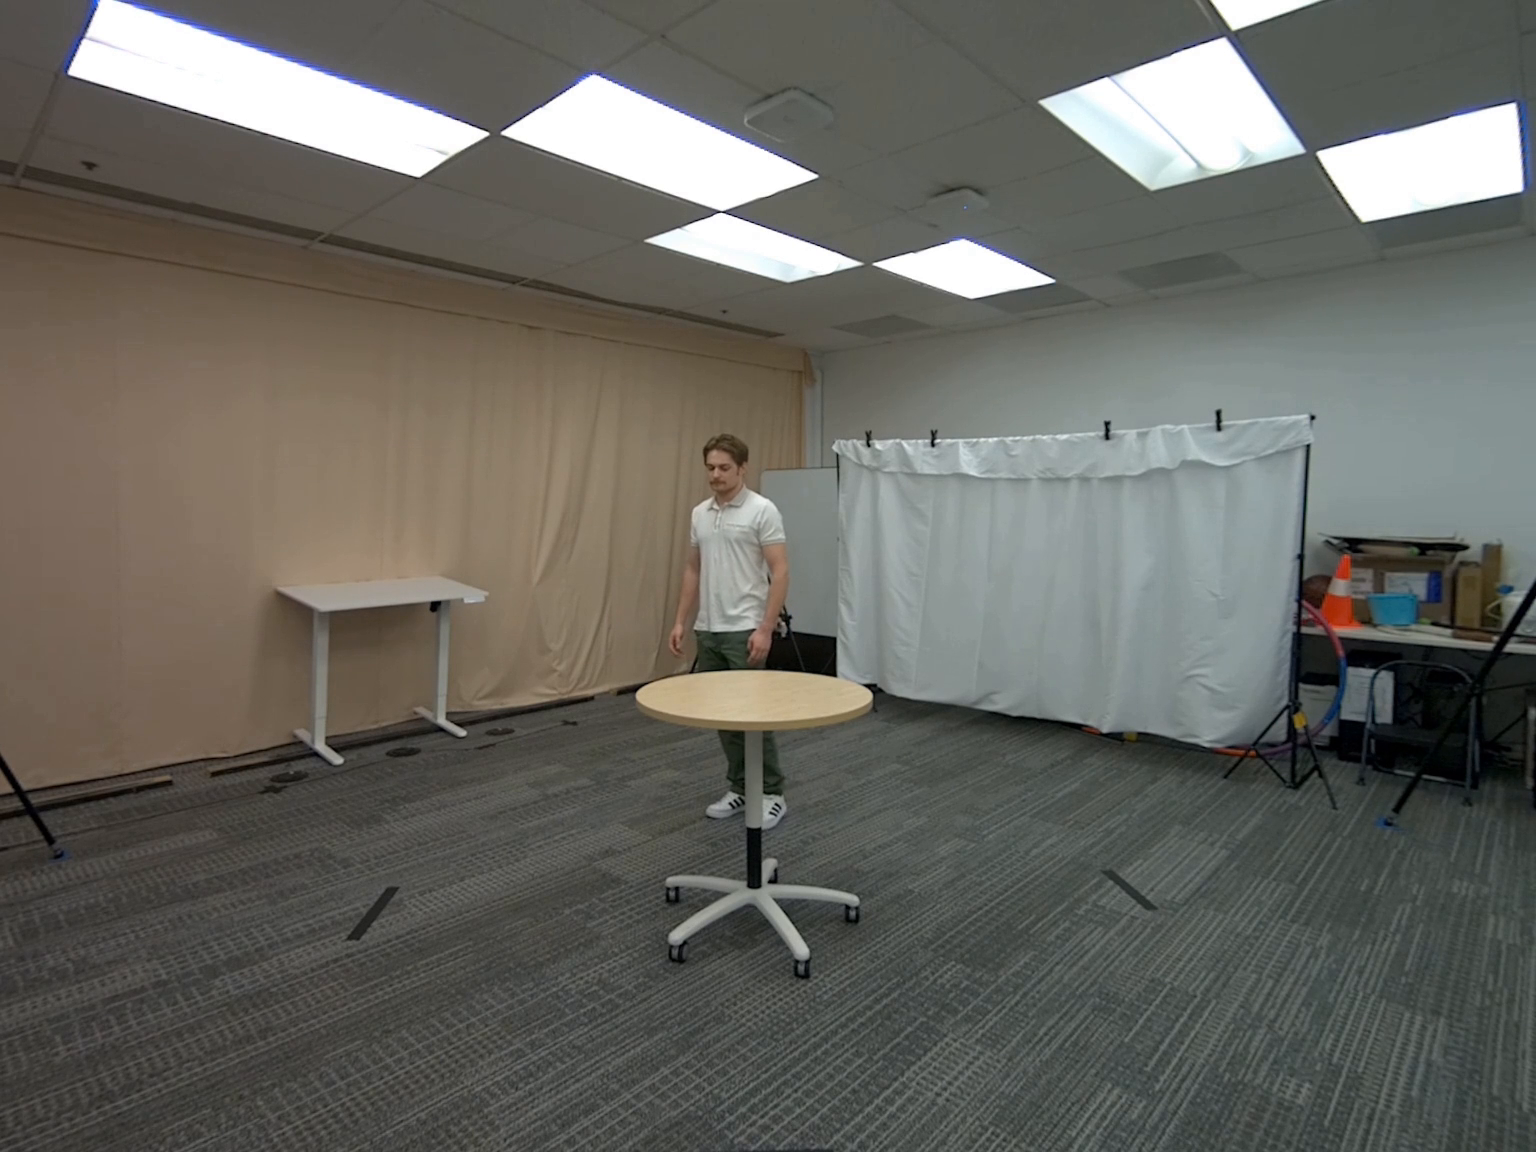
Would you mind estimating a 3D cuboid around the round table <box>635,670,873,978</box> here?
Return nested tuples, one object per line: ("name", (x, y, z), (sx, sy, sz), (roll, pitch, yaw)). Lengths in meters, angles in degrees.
("round table", (-0.038, 0.773, 2.764), (0.763, 0.792, 0.766), (-1, 3, -2))
